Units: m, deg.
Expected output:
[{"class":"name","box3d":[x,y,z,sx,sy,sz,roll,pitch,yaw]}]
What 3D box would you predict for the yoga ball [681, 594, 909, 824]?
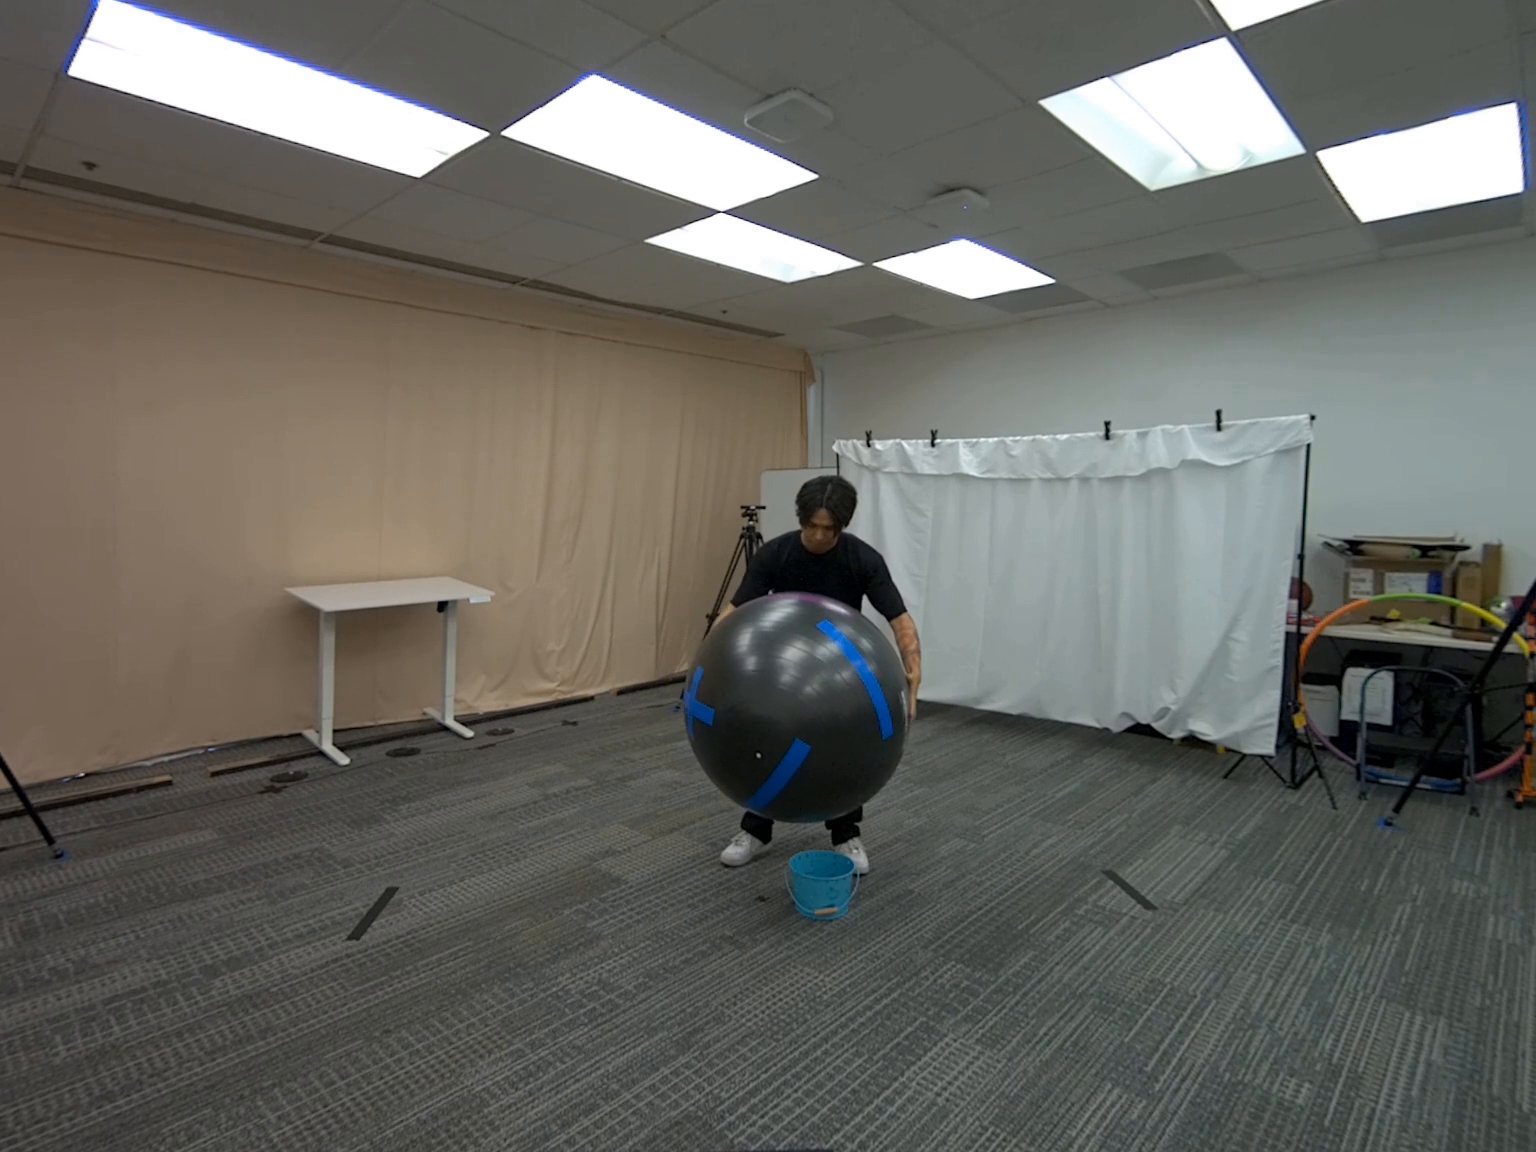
[{"class":"yoga ball","box3d":[0.087,0.435,2.840,0.757,0.756,0.761,0,4,-2]}]
